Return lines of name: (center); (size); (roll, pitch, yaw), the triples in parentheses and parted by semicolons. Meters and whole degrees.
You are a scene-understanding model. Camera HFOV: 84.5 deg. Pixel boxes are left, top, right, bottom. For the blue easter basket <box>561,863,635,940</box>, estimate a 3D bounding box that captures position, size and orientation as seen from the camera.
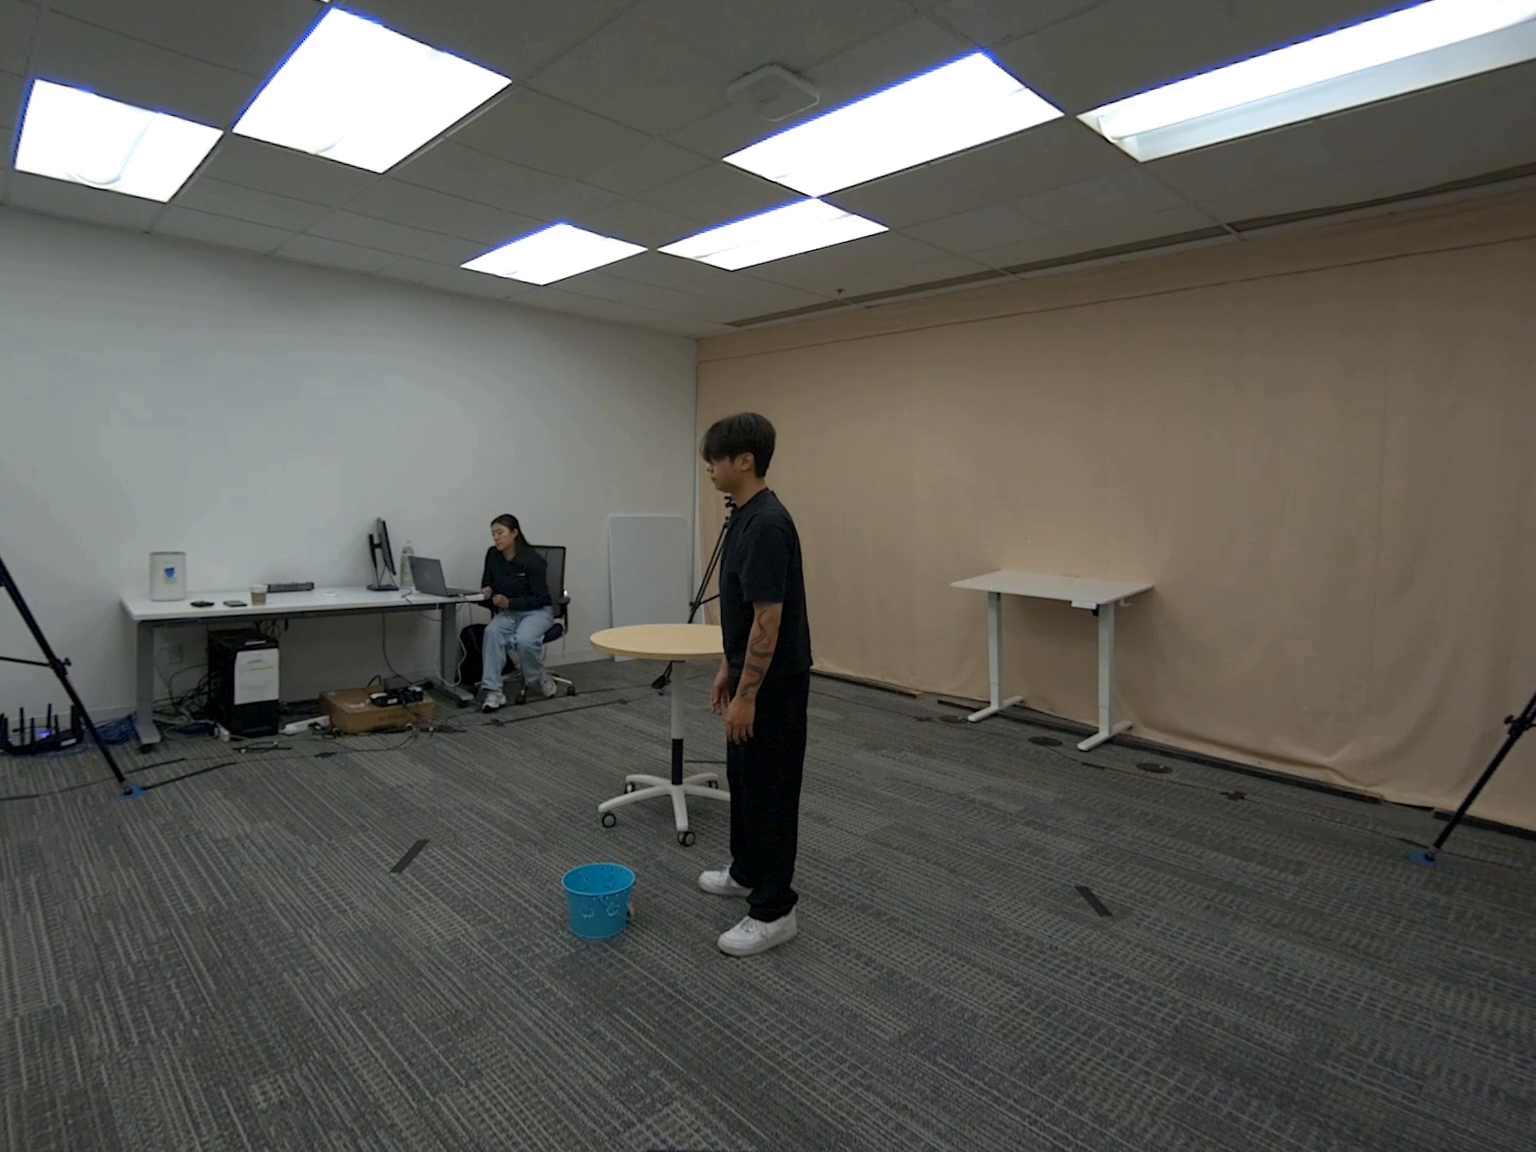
blue easter basket: (-0.555, 1.052, 2.720); (0.243, 0.155, 0.244); (1, 5, -1)
